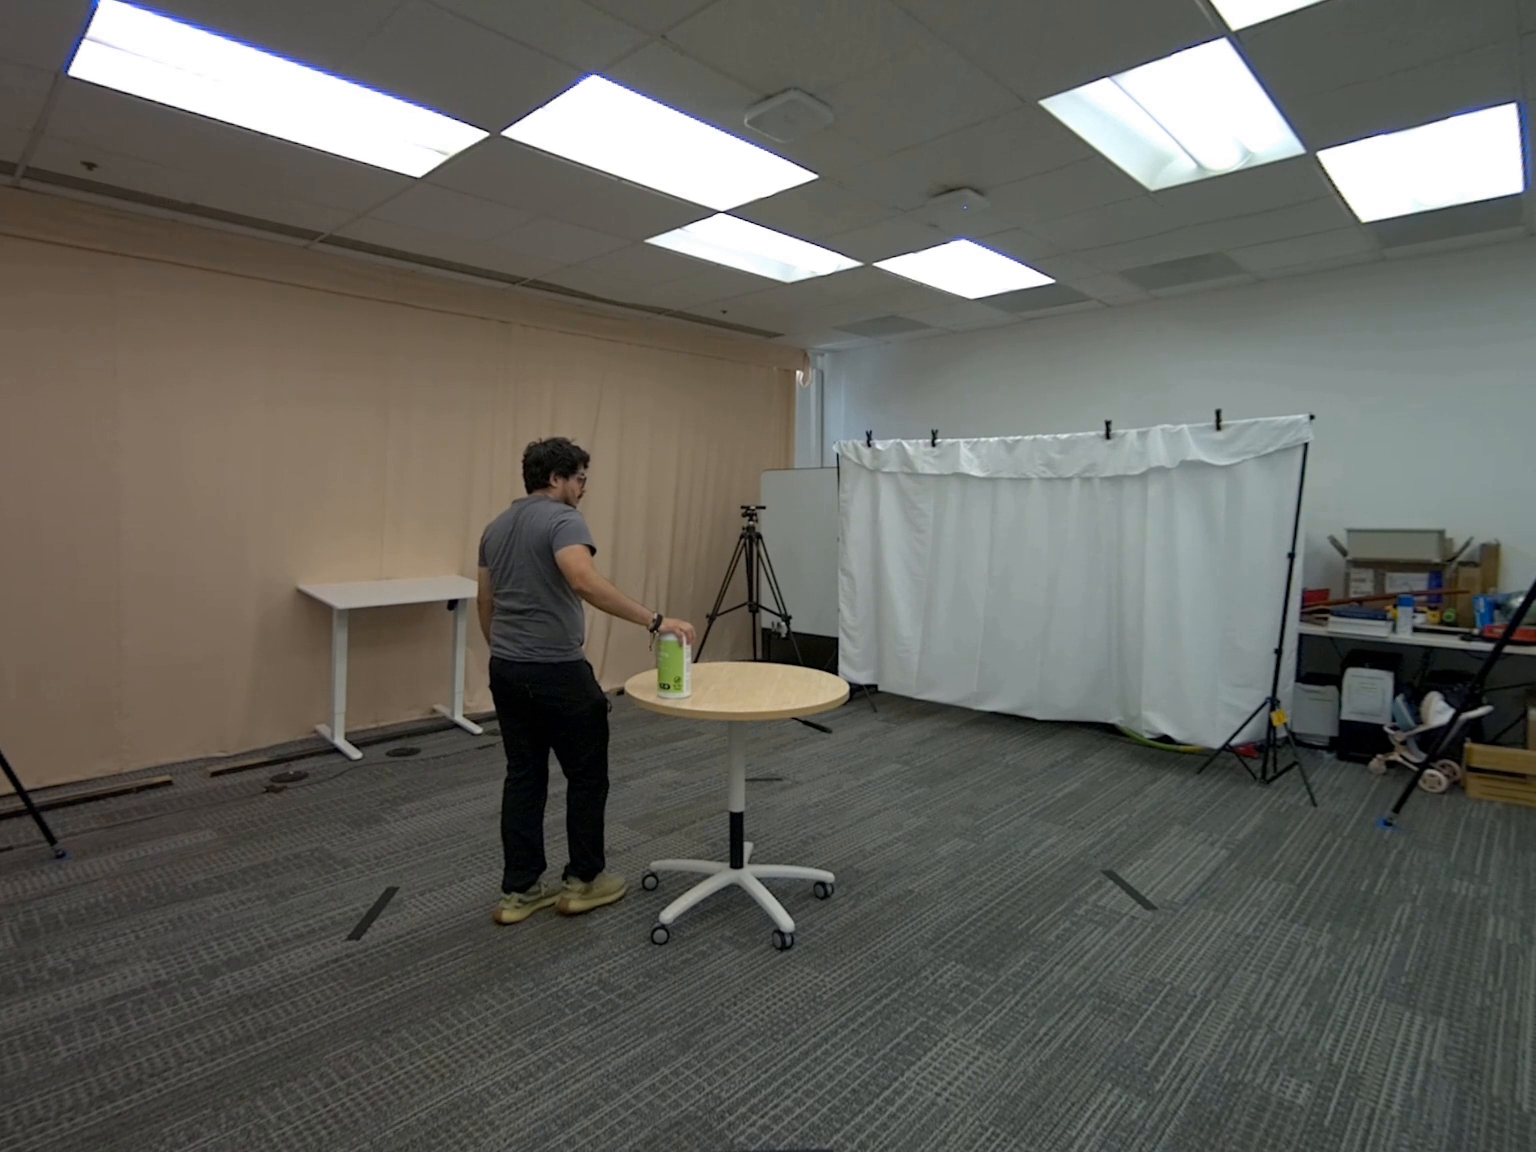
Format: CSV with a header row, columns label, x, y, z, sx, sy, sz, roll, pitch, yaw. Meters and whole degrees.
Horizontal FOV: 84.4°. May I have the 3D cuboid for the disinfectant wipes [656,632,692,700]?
label,x,y,z,sx,sy,sz,roll,pitch,yaw
disinfectant wipes,-0.299,0.281,2.703,0.118,0.217,0.118,0,5,-2
